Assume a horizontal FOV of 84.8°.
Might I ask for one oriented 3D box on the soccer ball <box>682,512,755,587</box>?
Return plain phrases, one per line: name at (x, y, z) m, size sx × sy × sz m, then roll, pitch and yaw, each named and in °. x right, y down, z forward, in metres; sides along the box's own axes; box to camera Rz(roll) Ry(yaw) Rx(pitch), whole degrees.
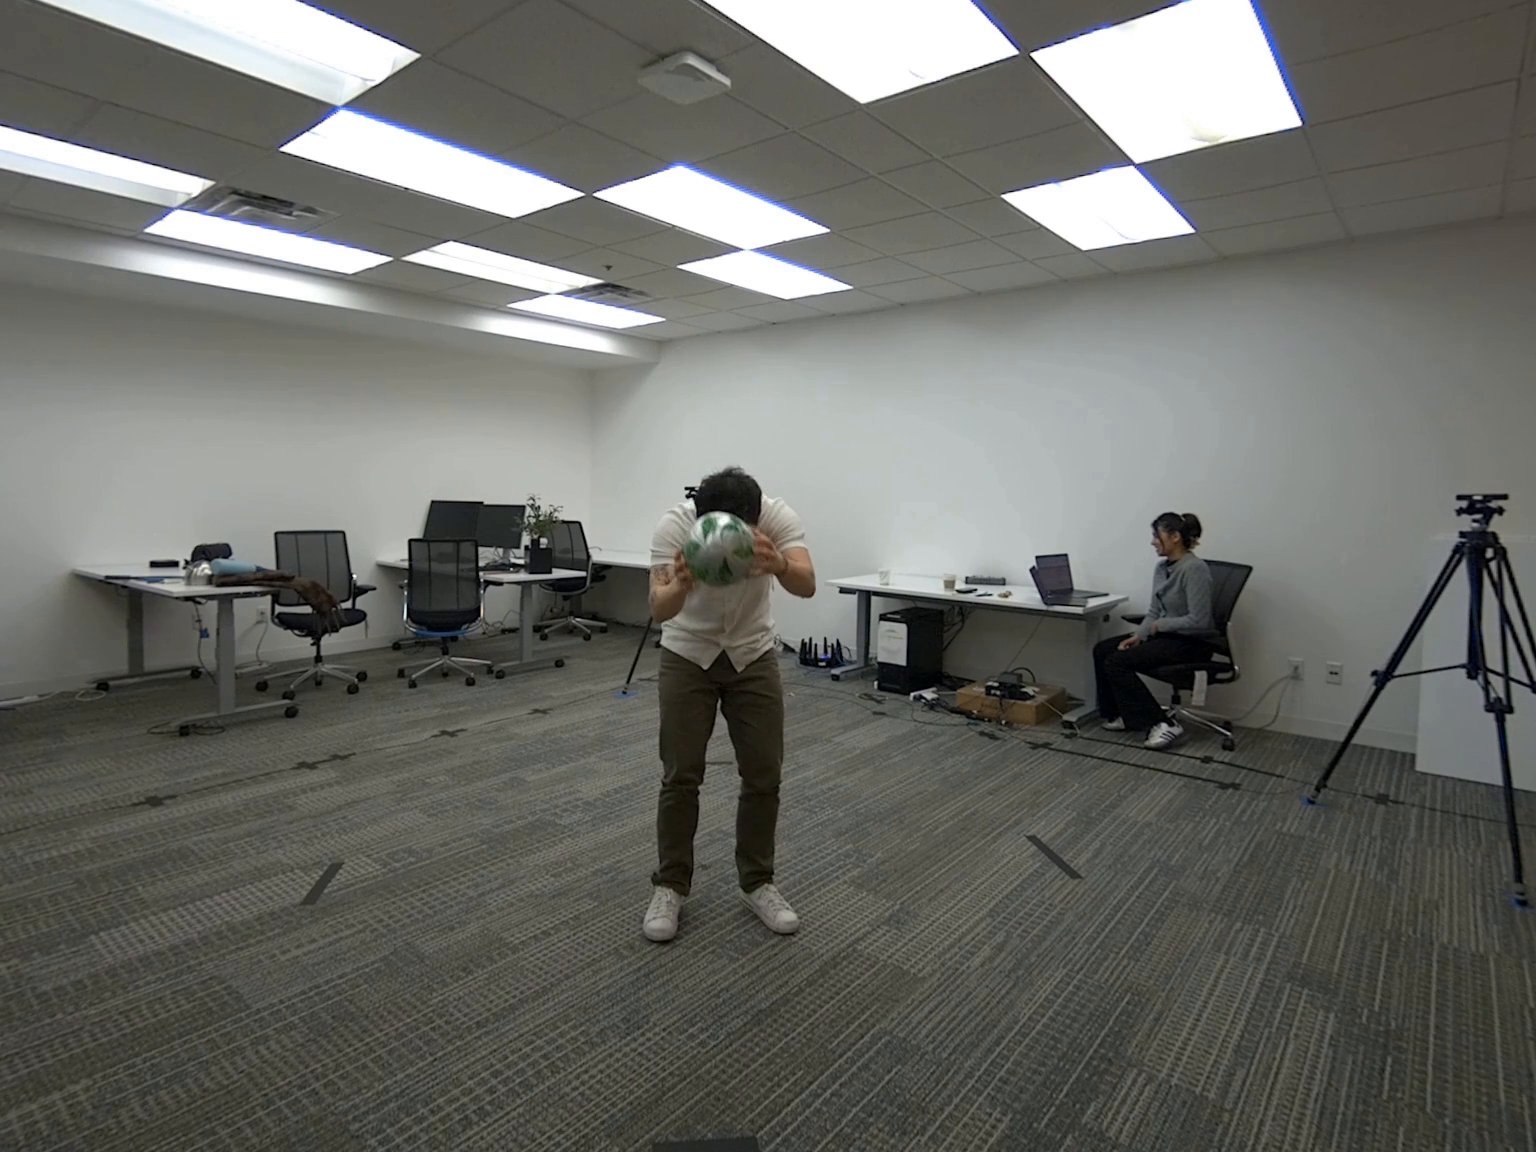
soccer ball at (-0.134, -0.080, 2.170) m, size 0.187 × 0.187 × 0.188 m, roll 1°, pitch 4°, yaw -2°
